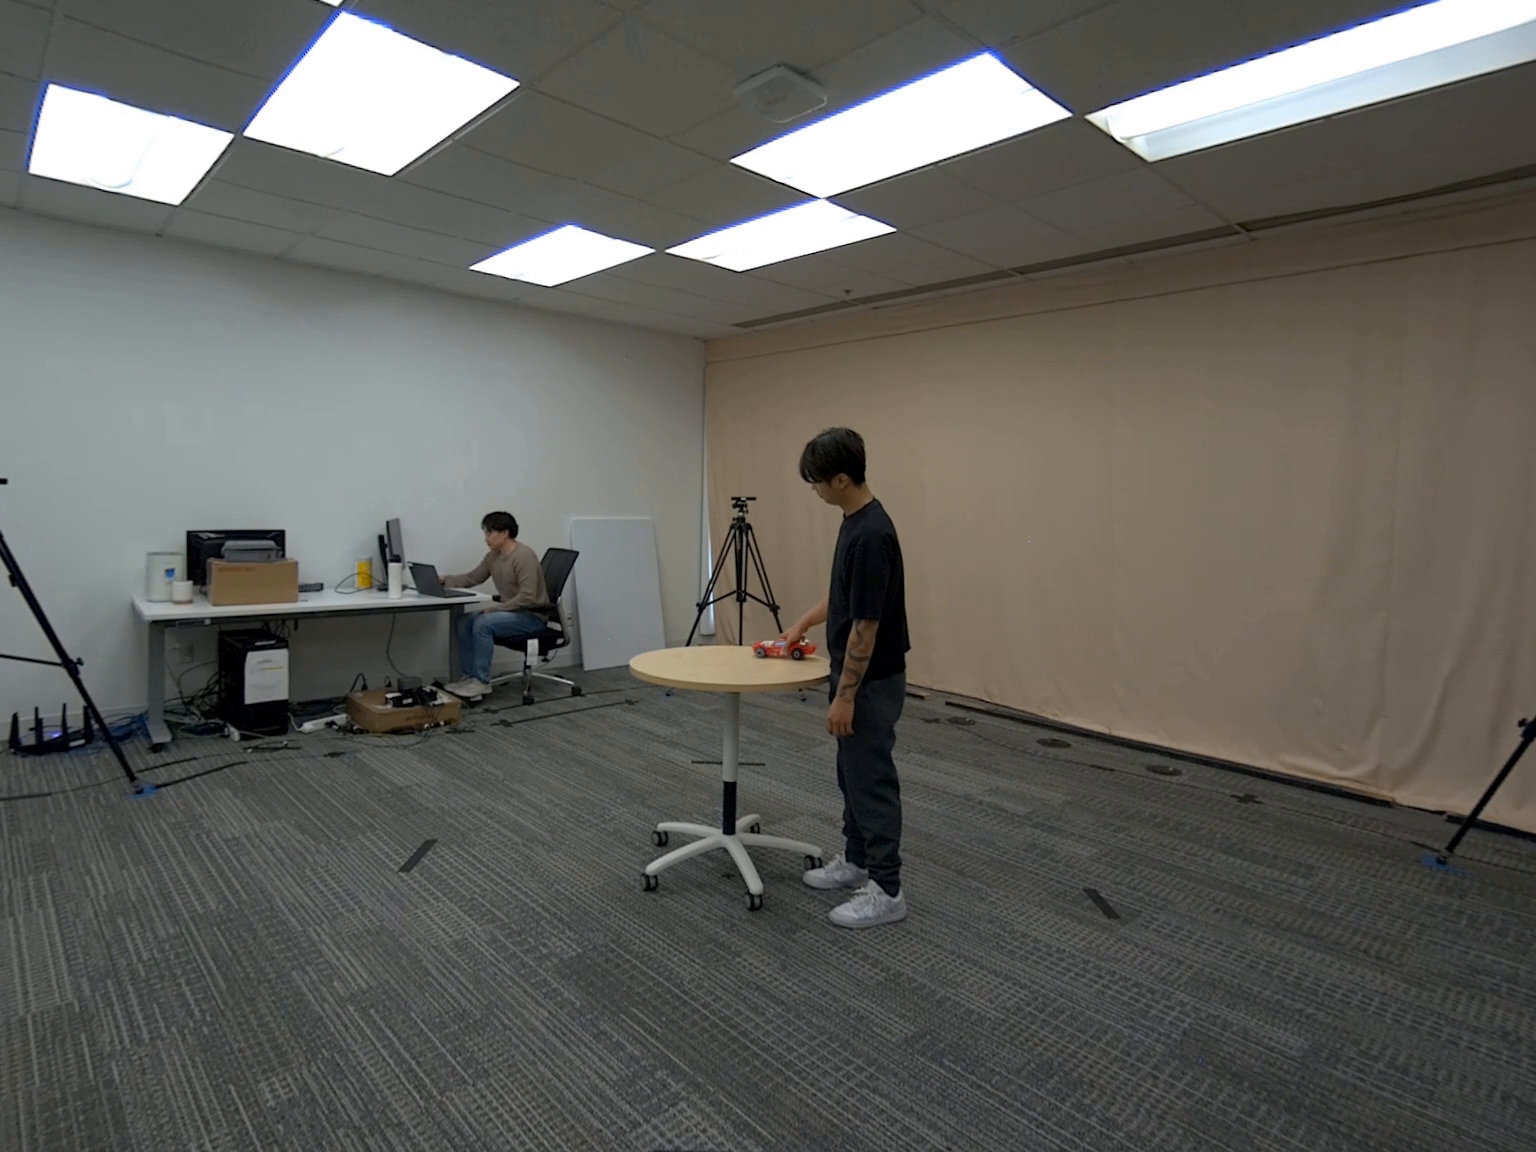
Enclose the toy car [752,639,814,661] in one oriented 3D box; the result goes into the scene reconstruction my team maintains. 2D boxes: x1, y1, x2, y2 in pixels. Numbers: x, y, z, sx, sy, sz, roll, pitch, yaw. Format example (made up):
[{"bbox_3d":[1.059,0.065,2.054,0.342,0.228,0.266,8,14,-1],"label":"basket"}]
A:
[{"bbox_3d":[0.058,0.284,3.258,0.256,0.083,0.129,-9,2,11],"label":"toy car"}]
